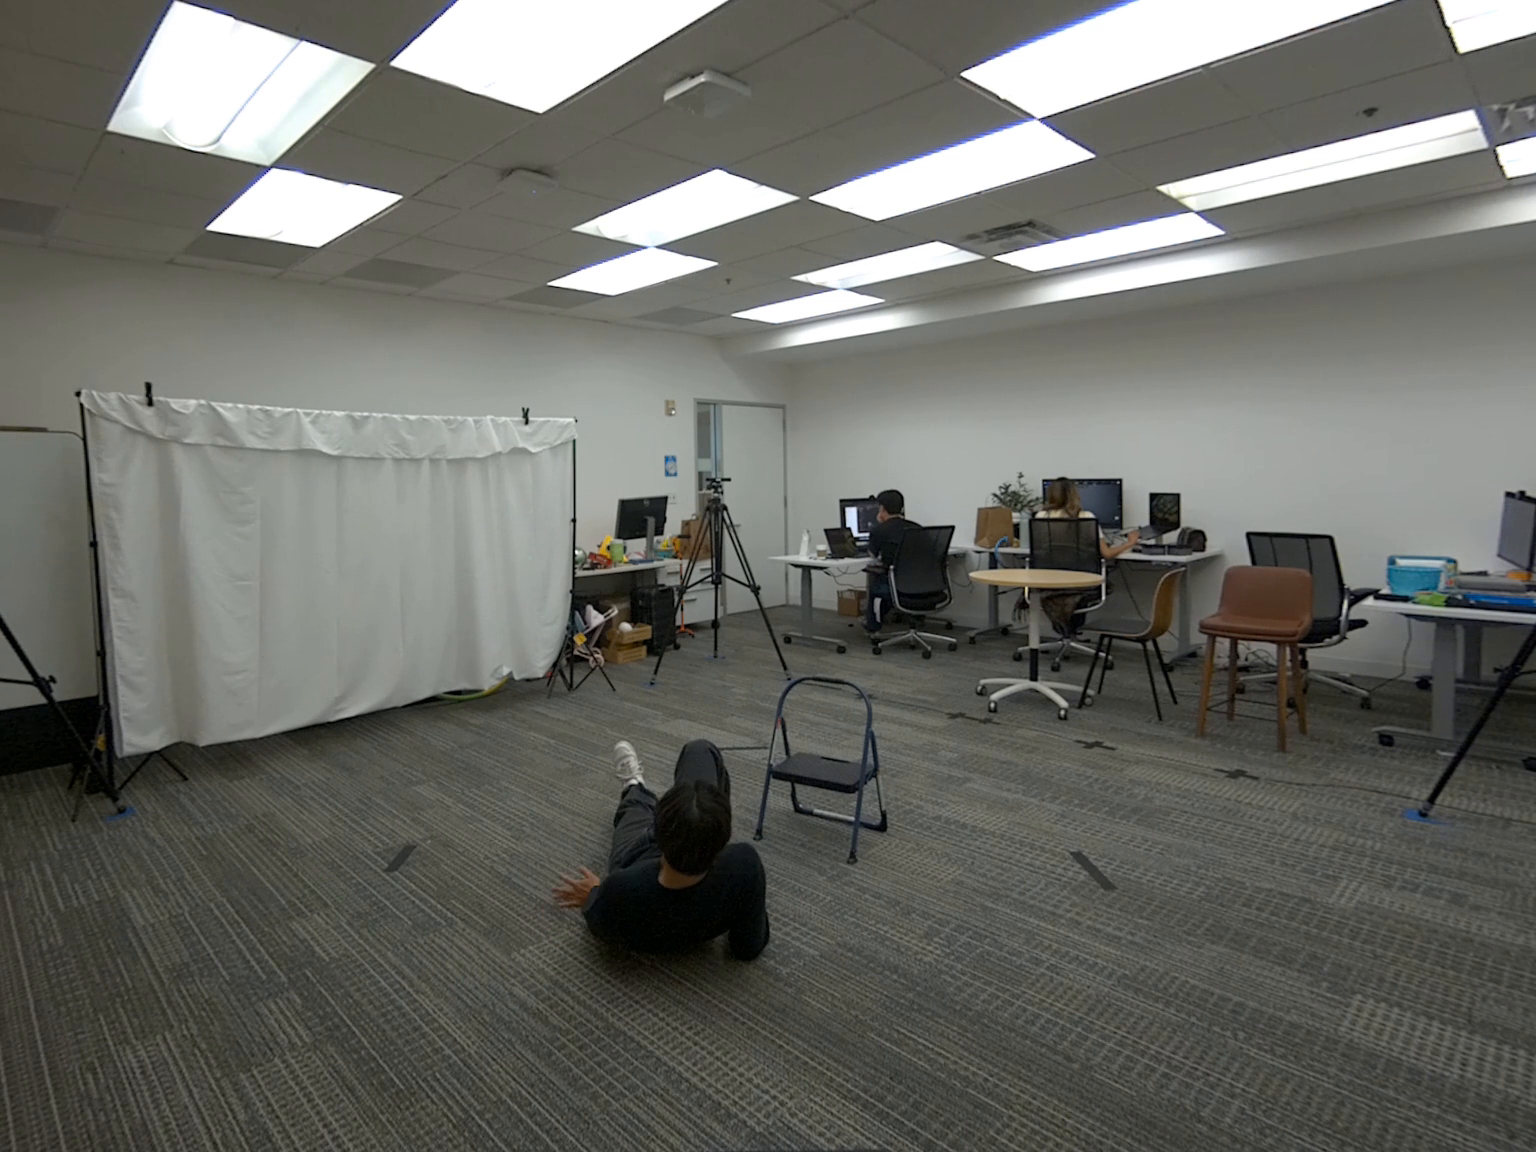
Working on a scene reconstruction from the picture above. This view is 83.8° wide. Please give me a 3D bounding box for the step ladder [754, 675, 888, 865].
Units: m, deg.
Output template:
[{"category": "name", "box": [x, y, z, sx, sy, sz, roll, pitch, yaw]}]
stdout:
[{"category": "step ladder", "box": [0.209, 0.709, 3.322, 0.442, 0.604, 0.341, 2, 5, 32]}]
